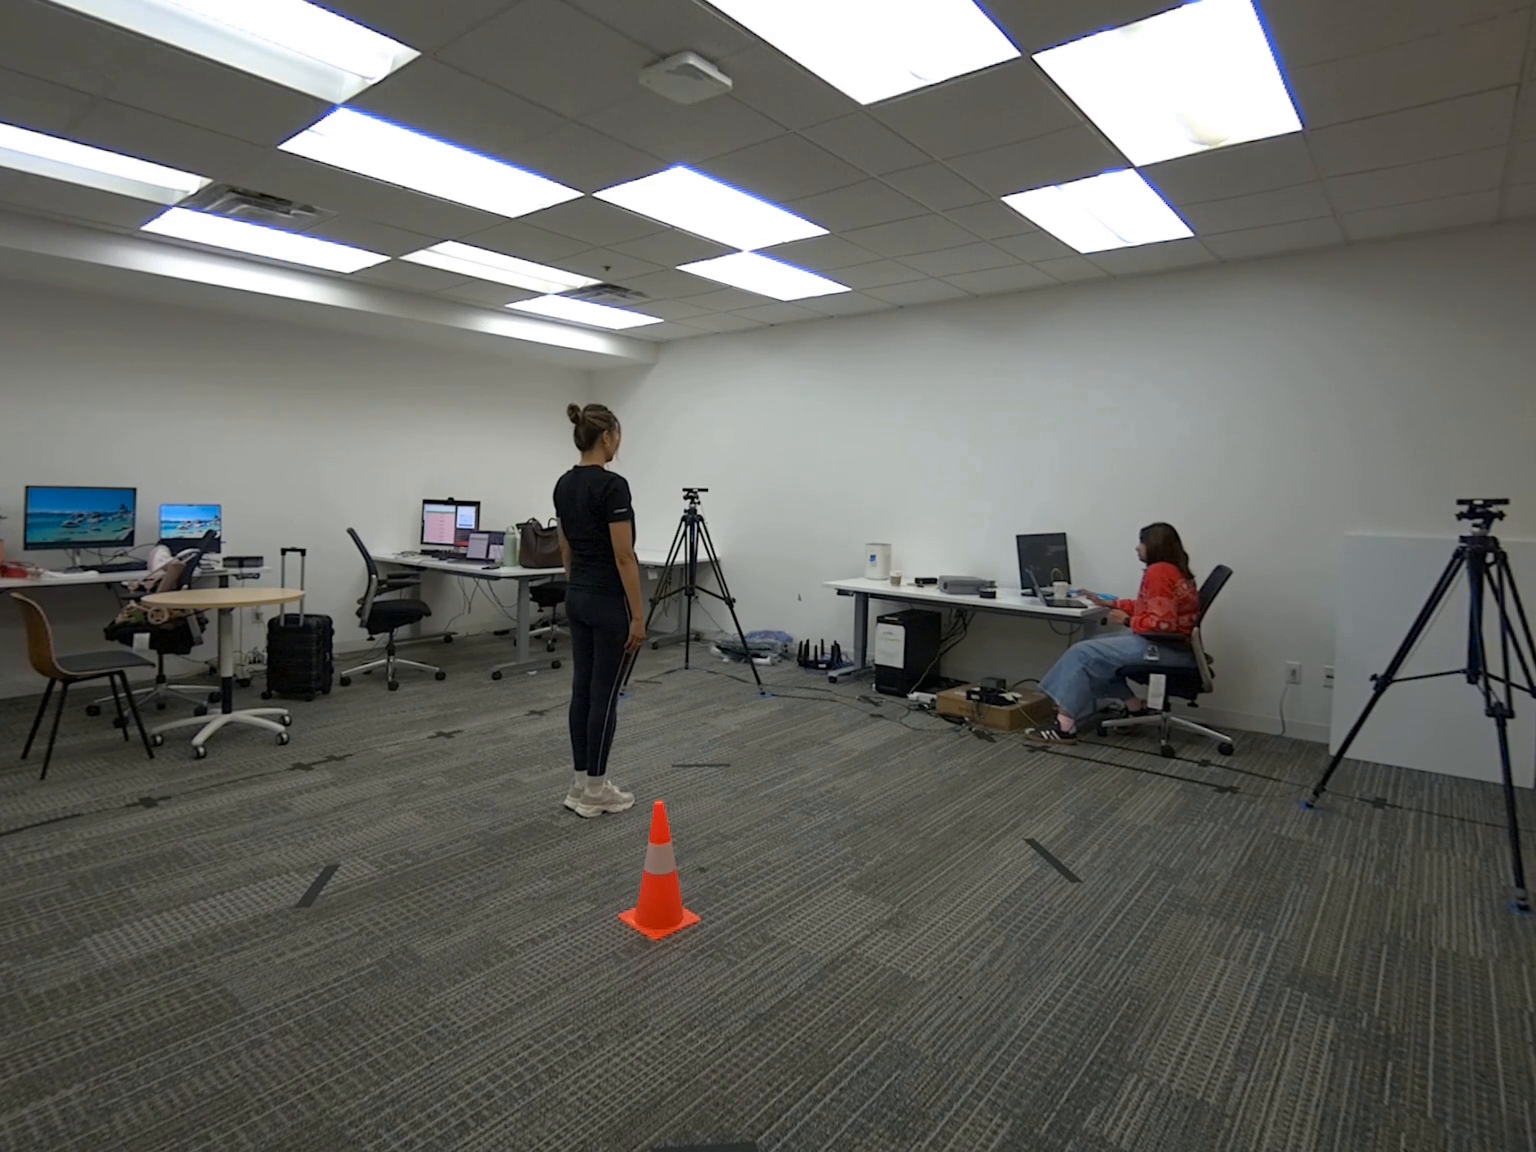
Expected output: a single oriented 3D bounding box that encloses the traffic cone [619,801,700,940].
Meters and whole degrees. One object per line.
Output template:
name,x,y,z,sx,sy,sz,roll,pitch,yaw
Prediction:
traffic cone,-0.356,0.921,2.739,0.197,0.383,0.212,-2,4,-40
